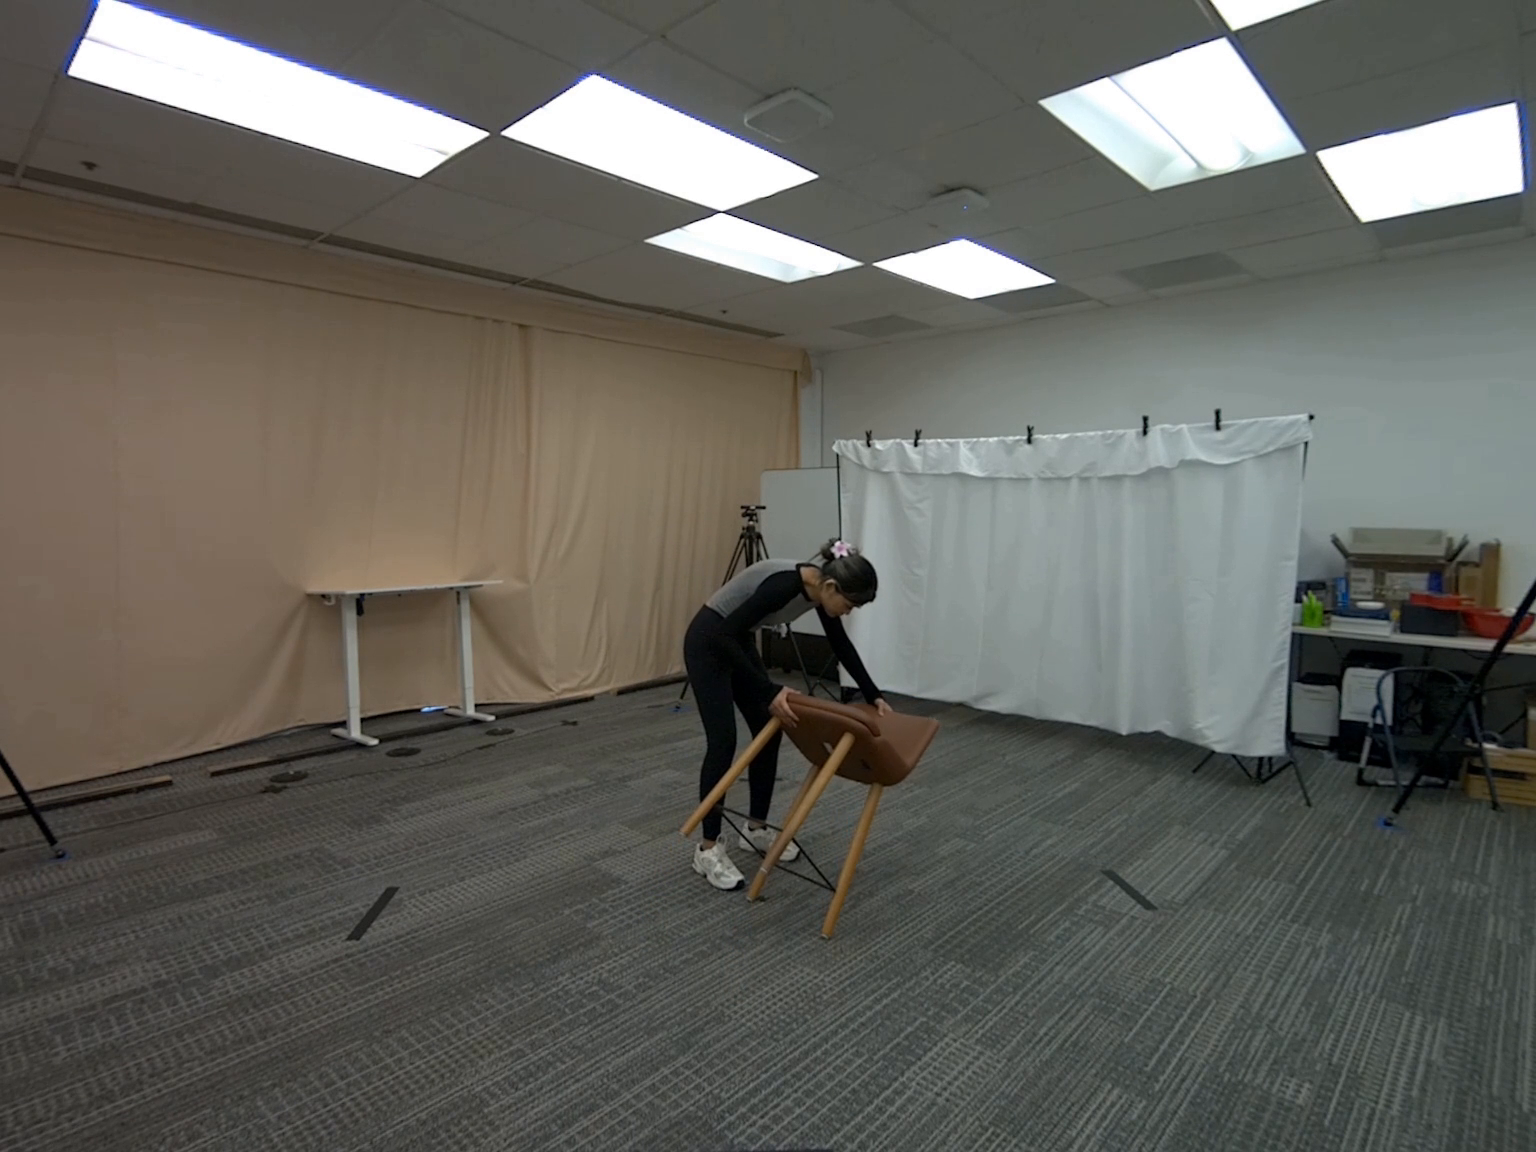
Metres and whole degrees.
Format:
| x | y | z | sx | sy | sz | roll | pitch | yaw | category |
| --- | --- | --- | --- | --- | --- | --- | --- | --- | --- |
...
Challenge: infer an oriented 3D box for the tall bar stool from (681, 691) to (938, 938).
| x | y | z | sx | sy | sz | roll | pitch | yaw | category |
| --- | --- | --- | --- | --- | --- | --- | --- | --- | --- |
| 0.195 | 0.696 | 2.925 | 0.472 | 0.454 | 0.886 | 4 | 48 | 46 | tall bar stool |
